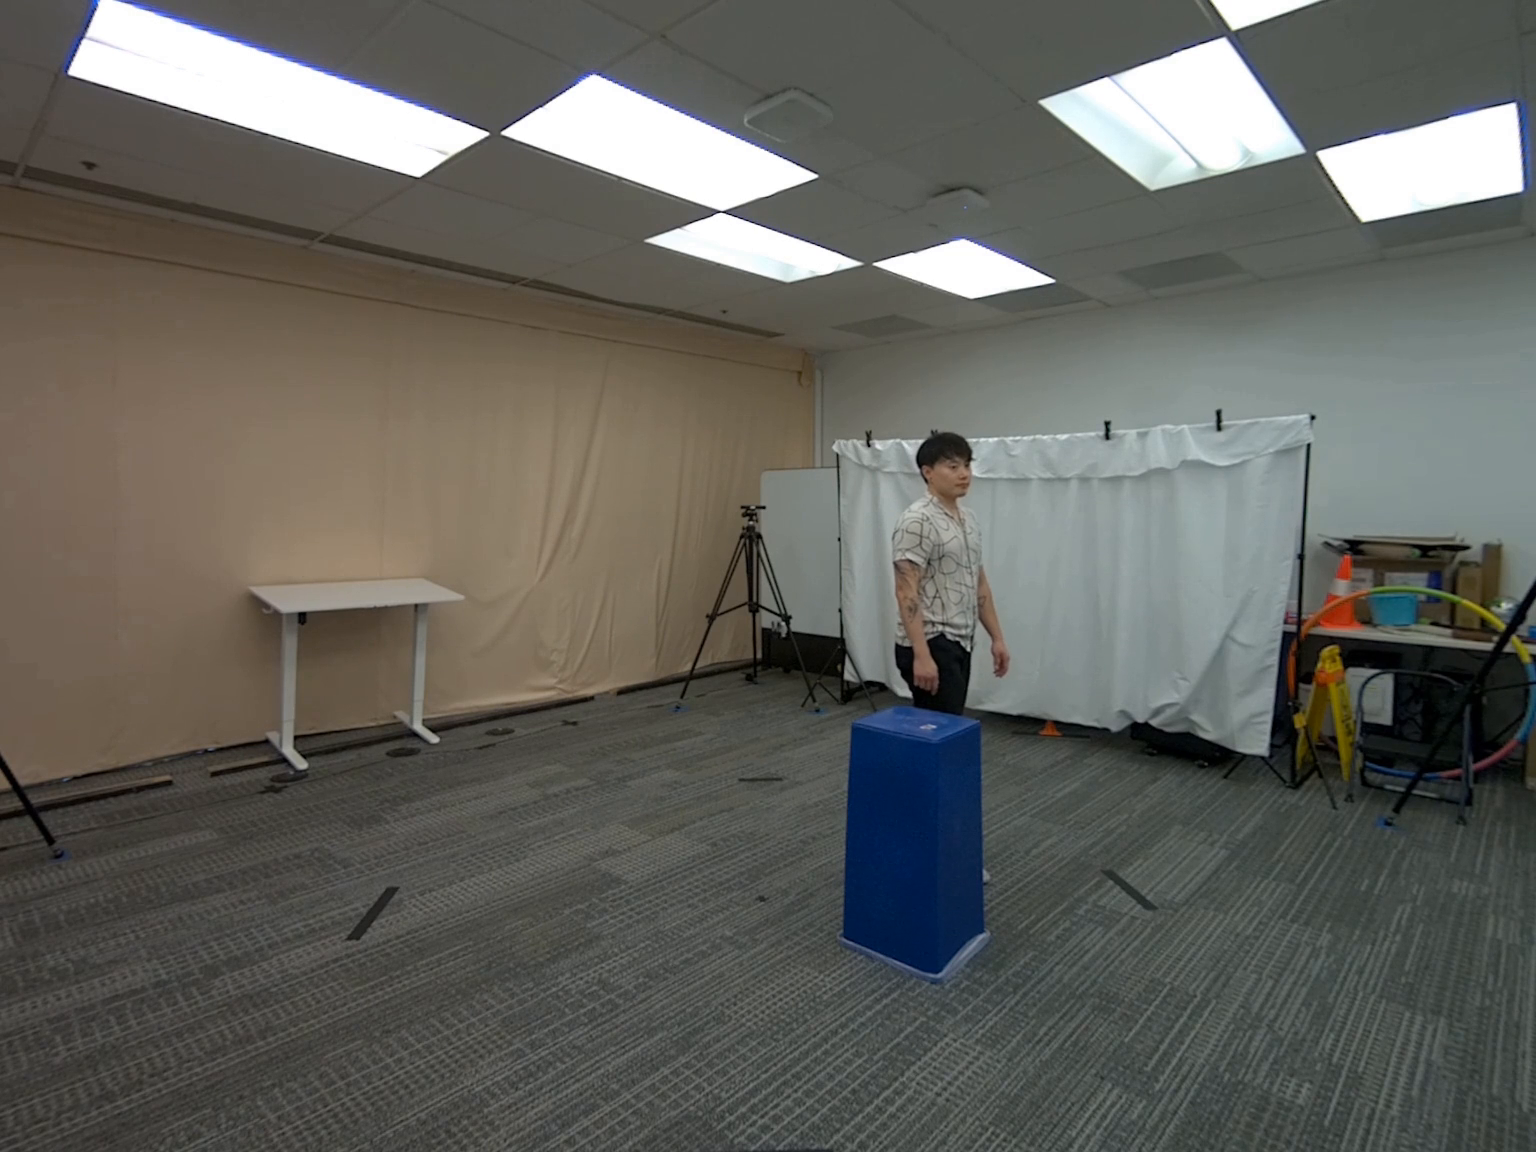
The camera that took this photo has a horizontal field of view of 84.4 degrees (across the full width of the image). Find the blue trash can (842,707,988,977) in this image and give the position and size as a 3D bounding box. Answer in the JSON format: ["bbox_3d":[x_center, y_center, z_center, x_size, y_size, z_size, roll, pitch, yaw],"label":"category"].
[{"bbox_3d":[0.474,0.817,2.667,0.386,0.712,0.367,4,5,41],"label":"blue trash can"}]
